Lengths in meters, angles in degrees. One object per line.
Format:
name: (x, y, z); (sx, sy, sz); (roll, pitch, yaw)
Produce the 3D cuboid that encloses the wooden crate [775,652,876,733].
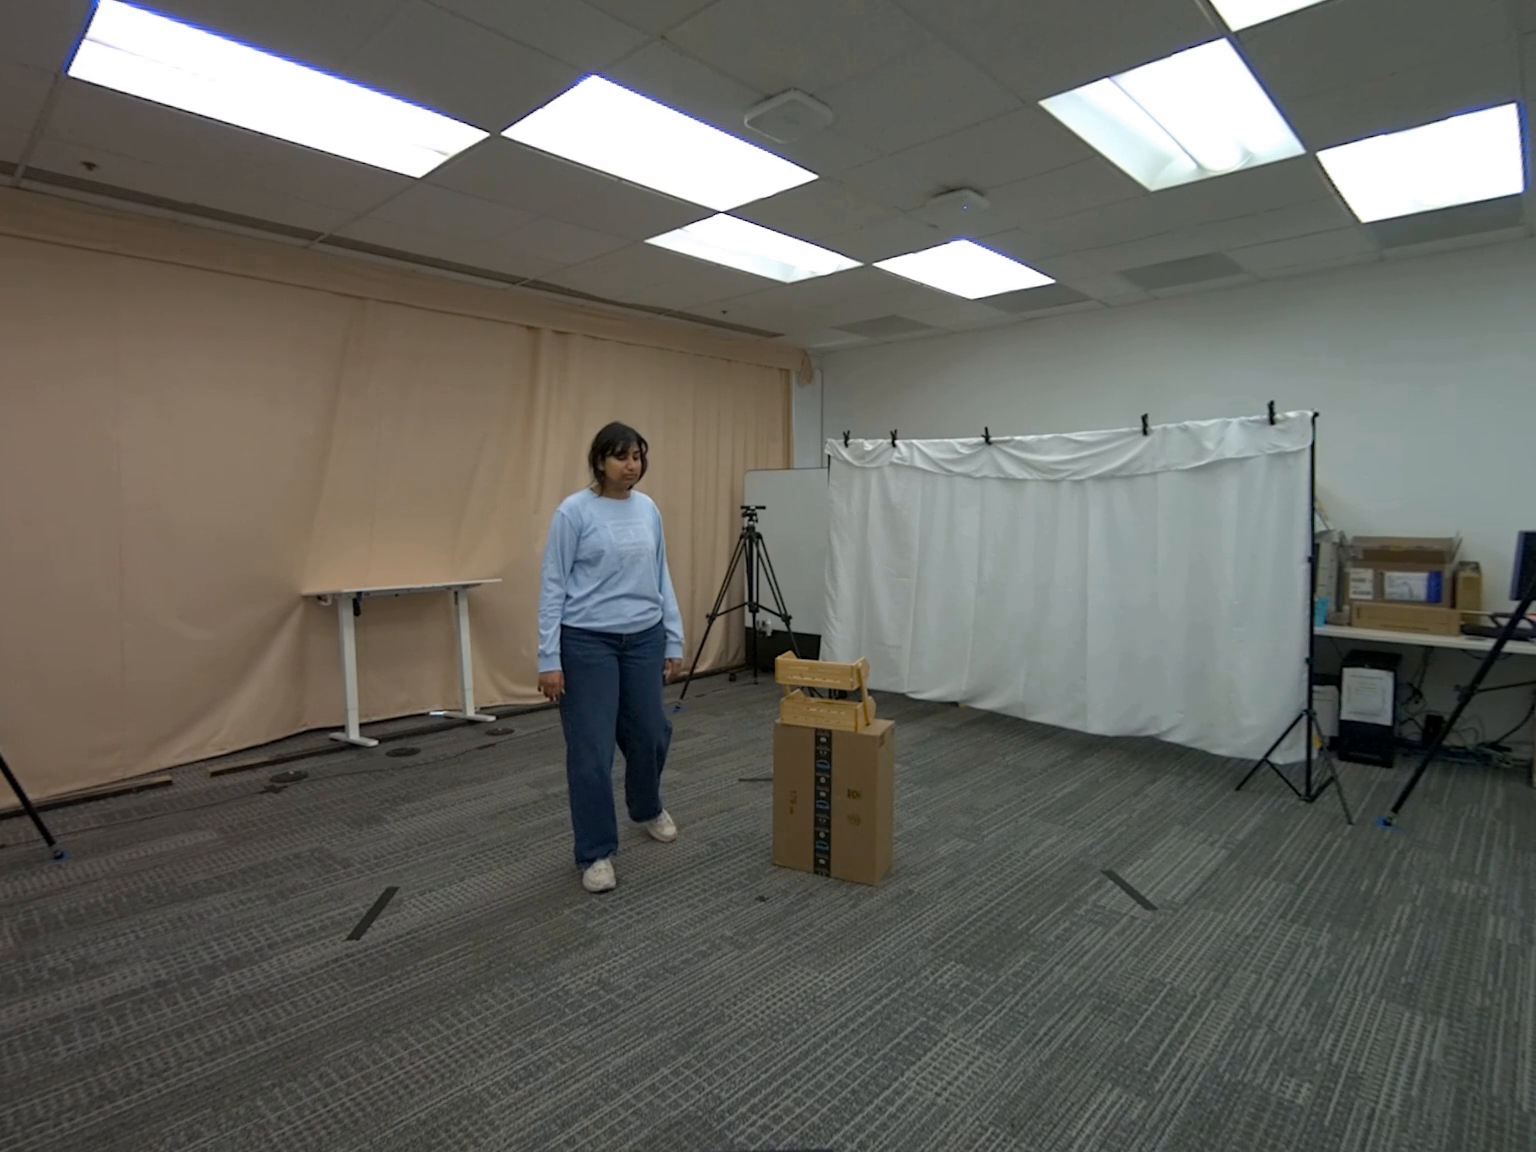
wooden crate: (0.230, 0.427, 3.221); (0.332, 0.272, 0.295); (2, 6, 24)
